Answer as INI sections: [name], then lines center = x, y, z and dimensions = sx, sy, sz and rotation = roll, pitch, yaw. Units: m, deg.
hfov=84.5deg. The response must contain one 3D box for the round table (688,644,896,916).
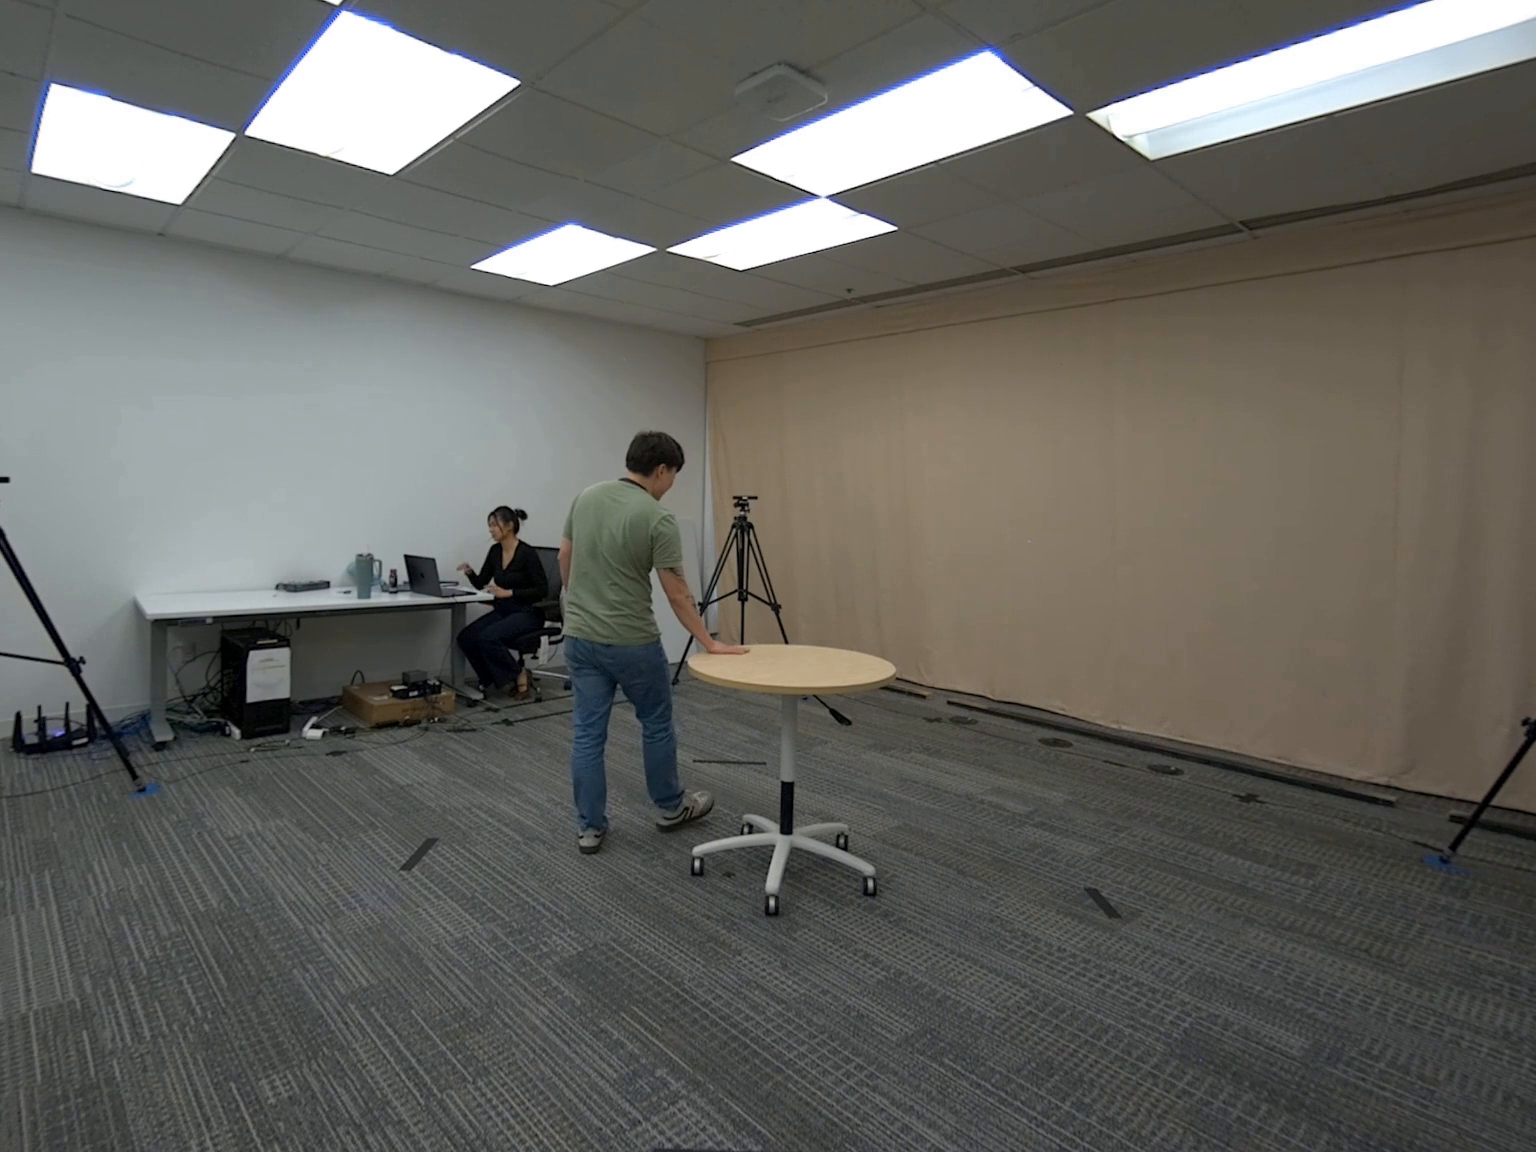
[round table]
center = 0.071, 0.718, 3.133
dimensions = 0.763, 0.792, 0.766
rotation = 1, 4, -1
